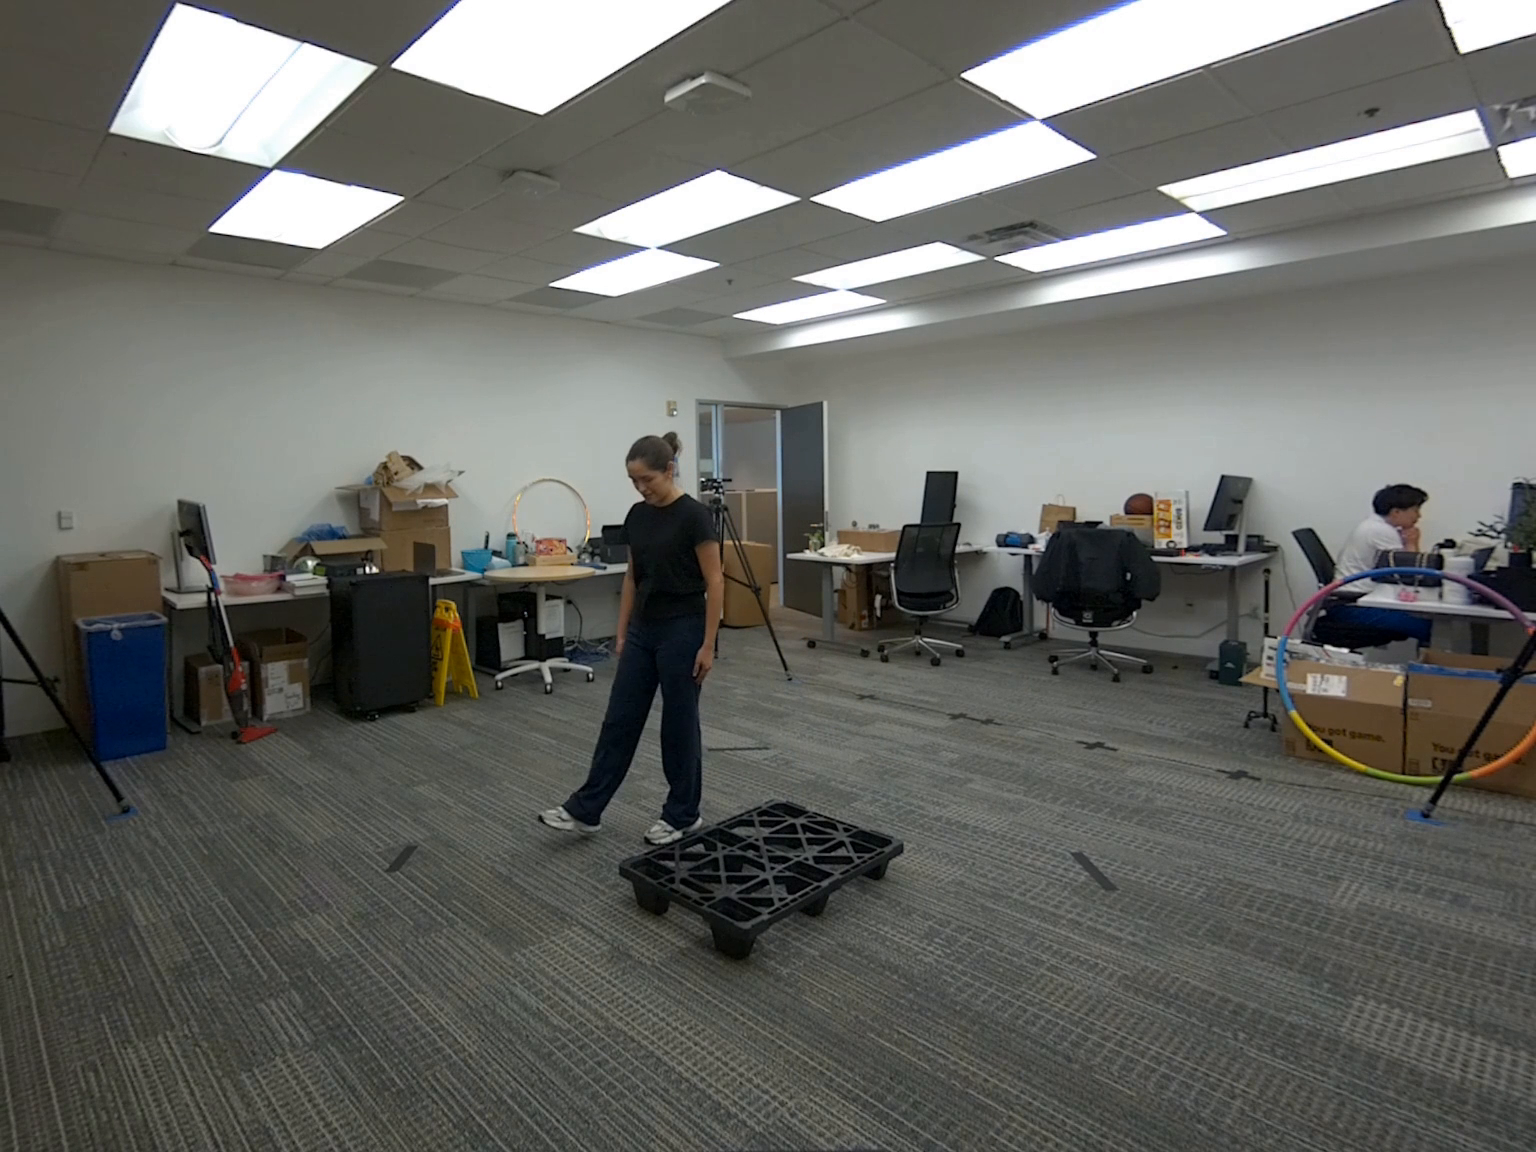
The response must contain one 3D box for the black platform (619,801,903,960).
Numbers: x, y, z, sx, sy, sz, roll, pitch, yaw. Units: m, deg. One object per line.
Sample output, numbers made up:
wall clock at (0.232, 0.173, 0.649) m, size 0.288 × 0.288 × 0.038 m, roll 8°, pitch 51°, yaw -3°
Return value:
black platform at (-0.004, 1.002, 2.903) m, size 0.624 × 0.142 × 0.785 m, roll 6°, pitch 10°, yaw 44°
